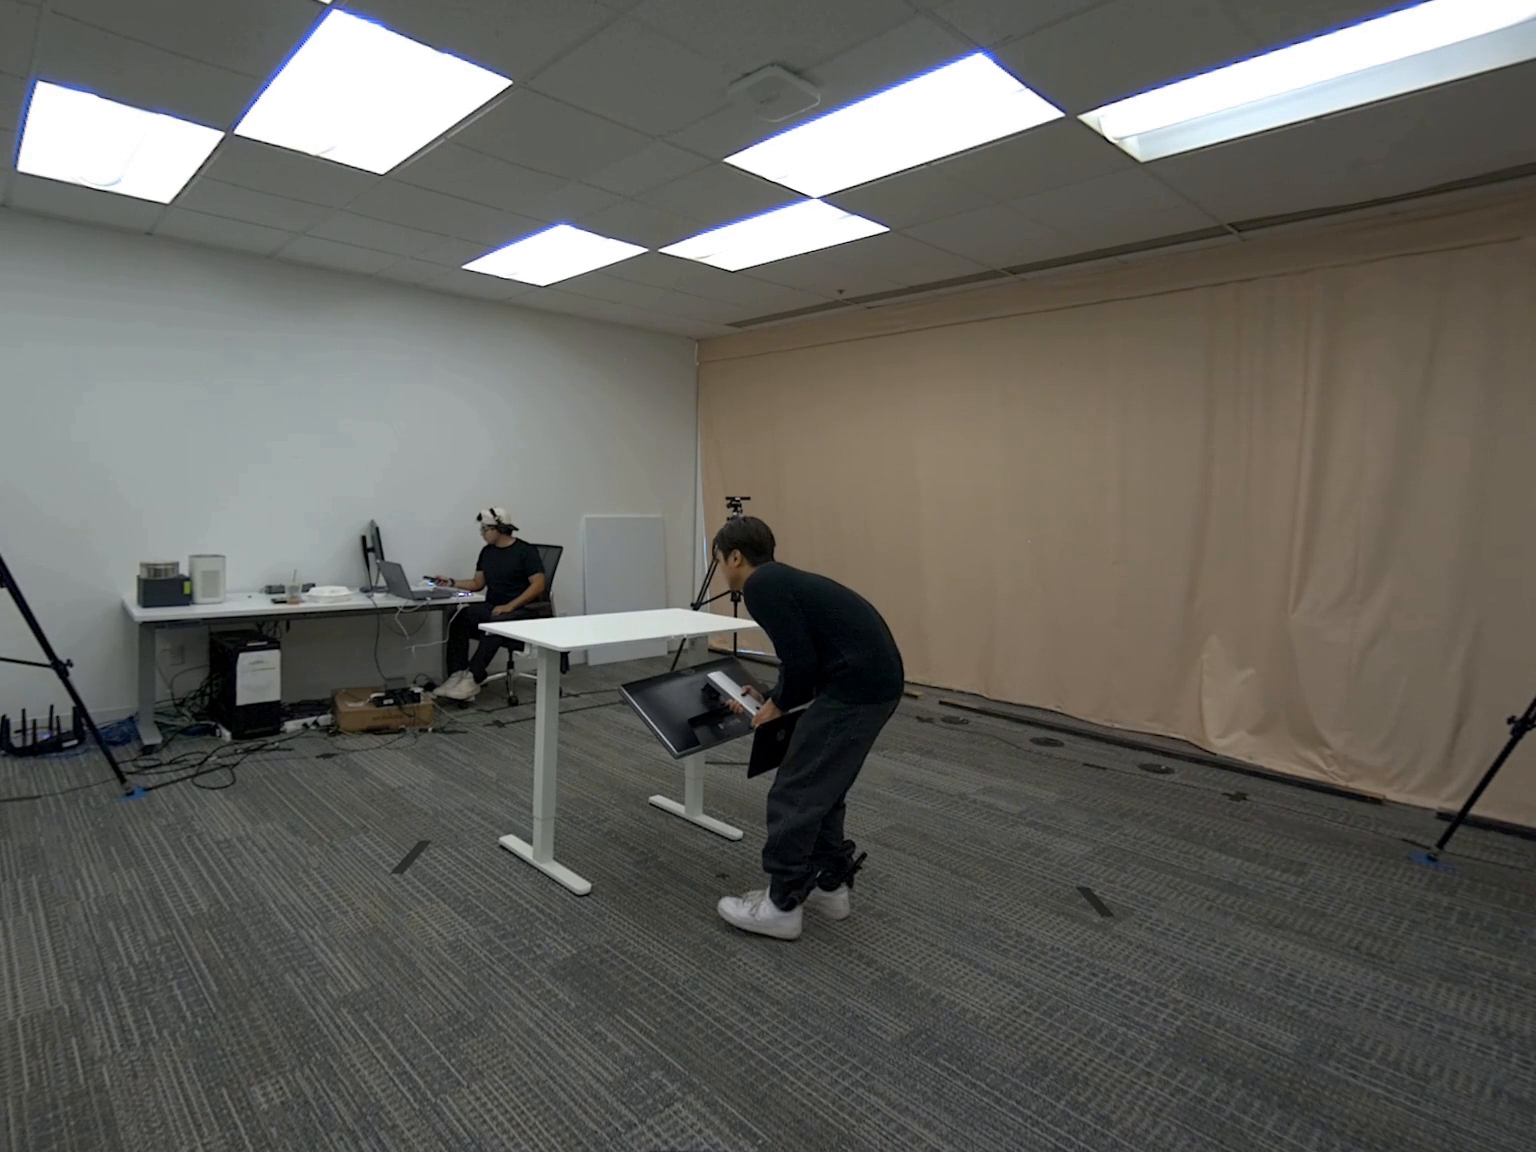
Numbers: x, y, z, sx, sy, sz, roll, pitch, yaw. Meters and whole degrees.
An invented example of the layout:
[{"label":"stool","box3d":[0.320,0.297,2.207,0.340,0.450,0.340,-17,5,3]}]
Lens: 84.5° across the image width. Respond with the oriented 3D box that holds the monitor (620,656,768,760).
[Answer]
[{"label":"monitor","box3d":[-0.162,0.459,2.998,0.531,0.172,0.520,22,25,40]}]
